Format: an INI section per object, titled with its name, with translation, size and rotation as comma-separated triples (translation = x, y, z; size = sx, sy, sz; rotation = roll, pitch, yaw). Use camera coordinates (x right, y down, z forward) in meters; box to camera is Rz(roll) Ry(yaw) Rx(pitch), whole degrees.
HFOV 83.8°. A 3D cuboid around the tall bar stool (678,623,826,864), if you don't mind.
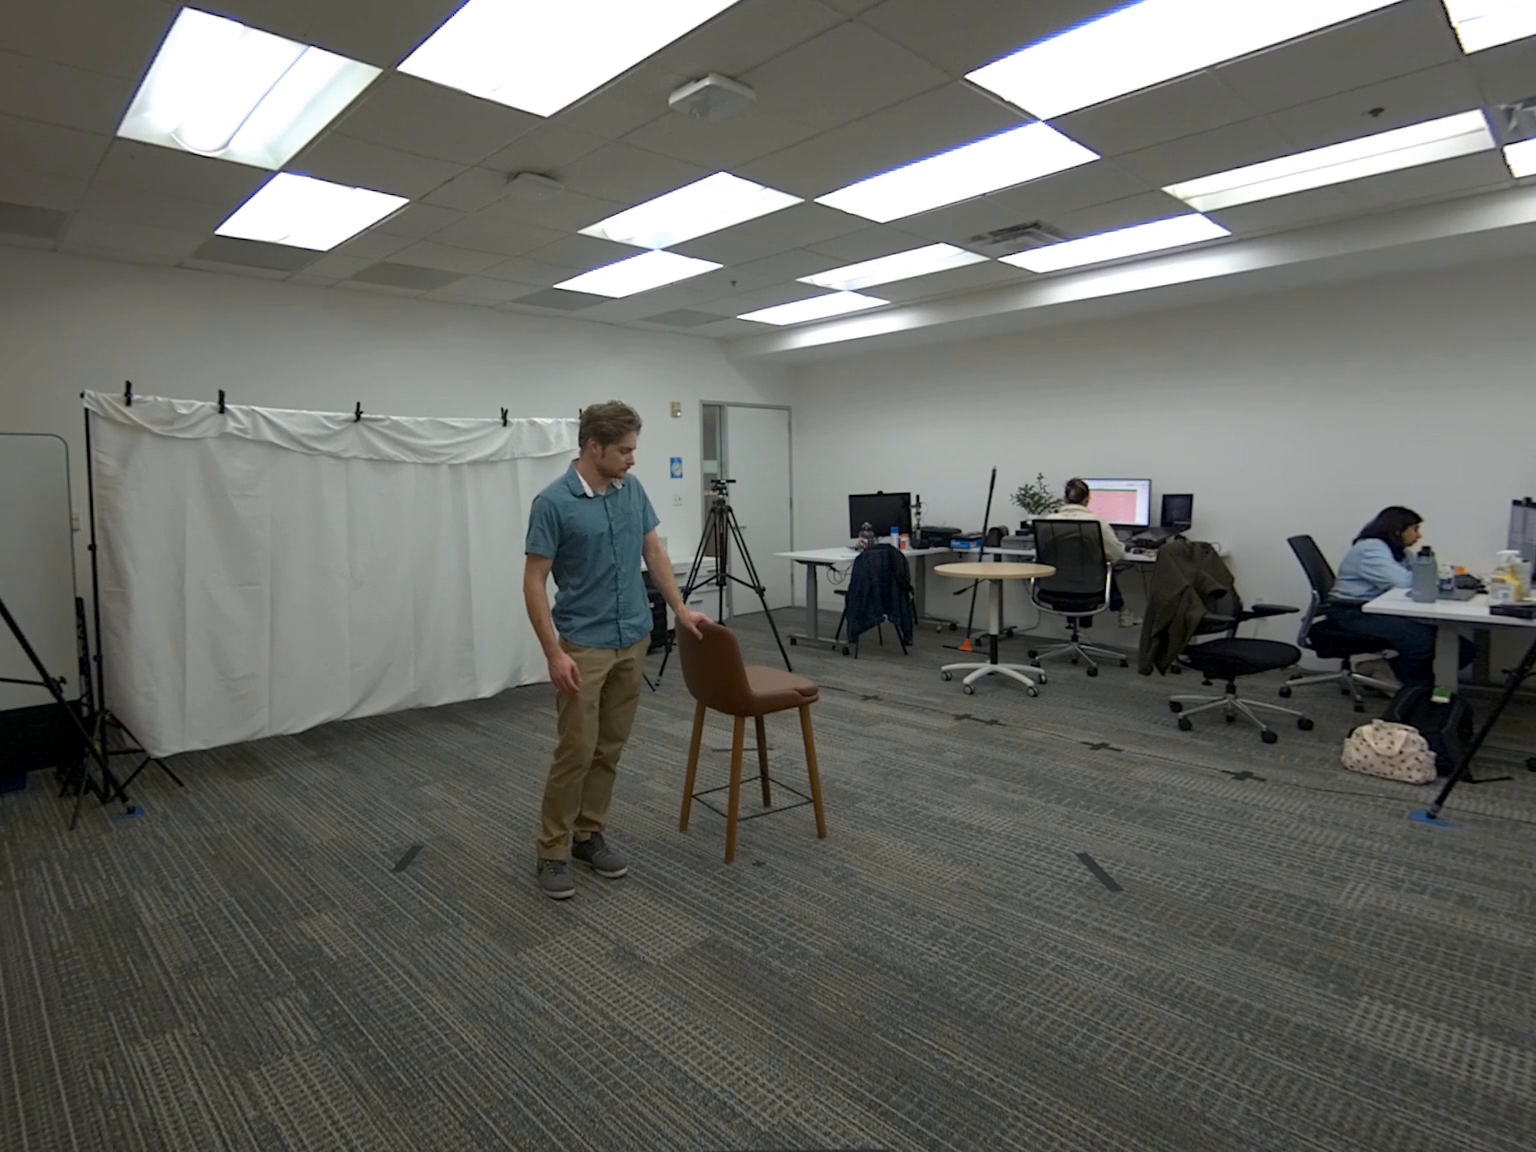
[tall bar stool]
translation = -0.083, 0.582, 3.358
size = 0.456, 0.886, 0.470
rotation = -5, 6, -33
